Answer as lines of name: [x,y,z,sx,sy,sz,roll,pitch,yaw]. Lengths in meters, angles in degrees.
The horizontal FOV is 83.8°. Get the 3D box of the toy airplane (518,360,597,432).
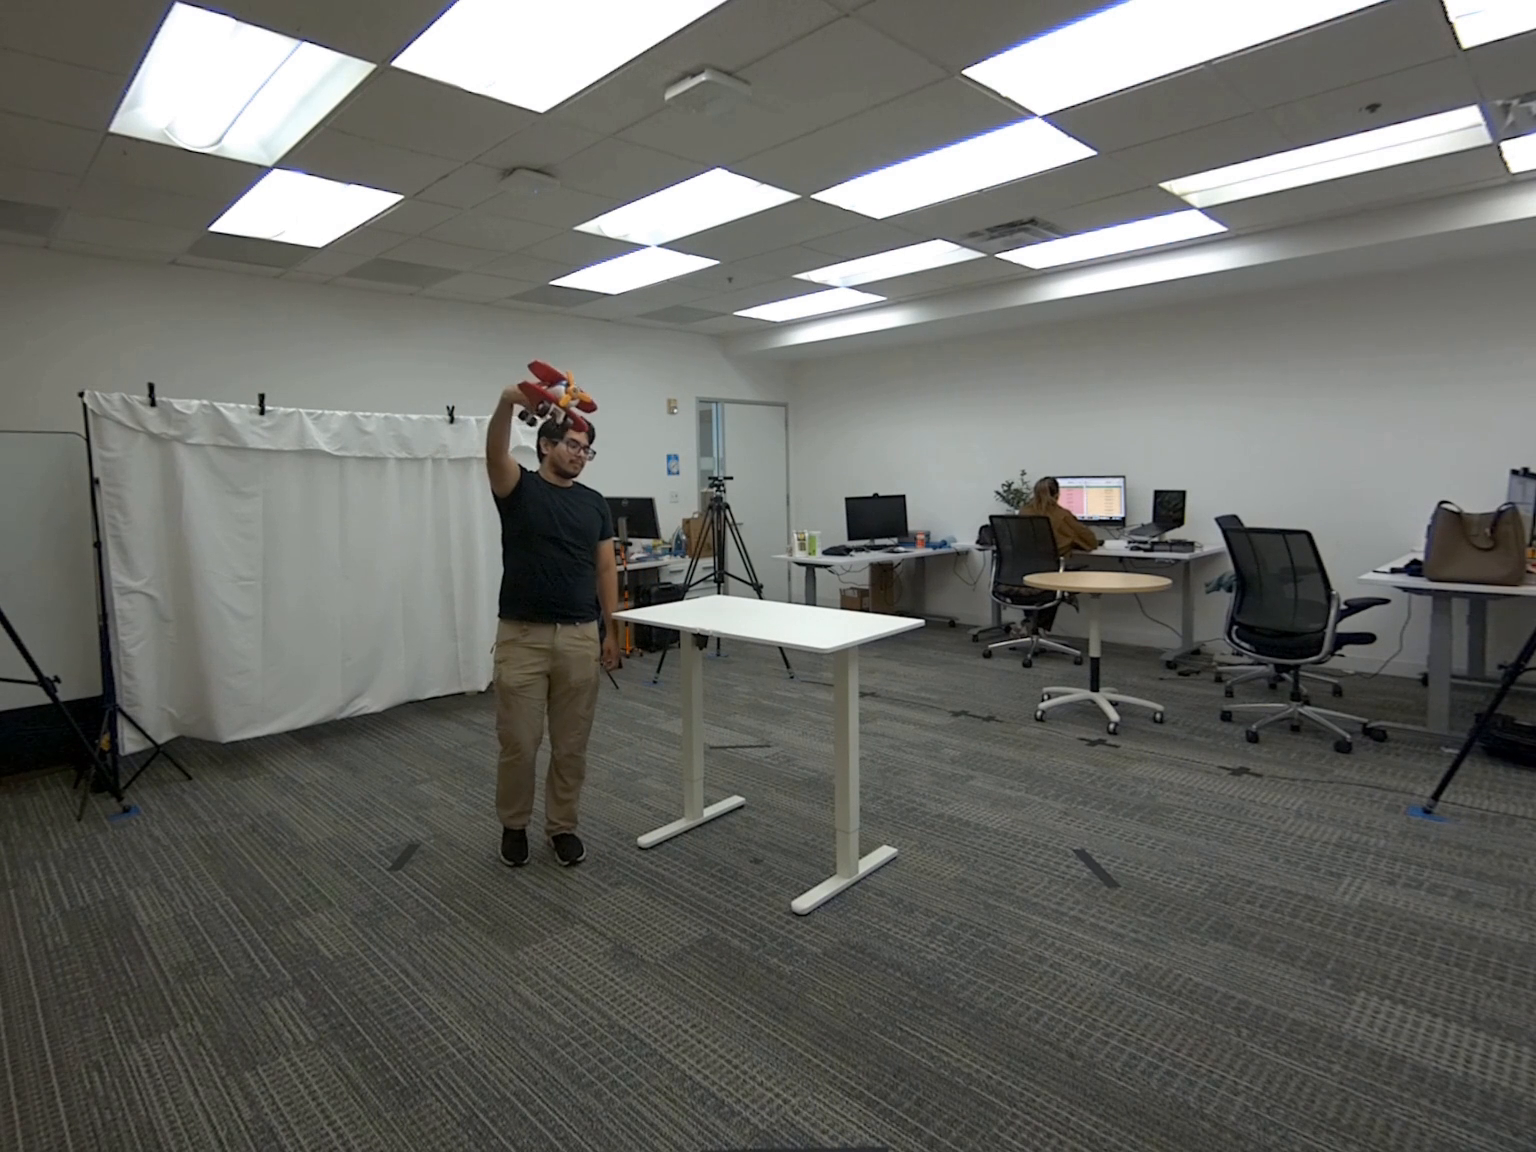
toy airplane: [-0.693,-0.549,2.642,0.267,0.157,0.243,23,-14,24]
